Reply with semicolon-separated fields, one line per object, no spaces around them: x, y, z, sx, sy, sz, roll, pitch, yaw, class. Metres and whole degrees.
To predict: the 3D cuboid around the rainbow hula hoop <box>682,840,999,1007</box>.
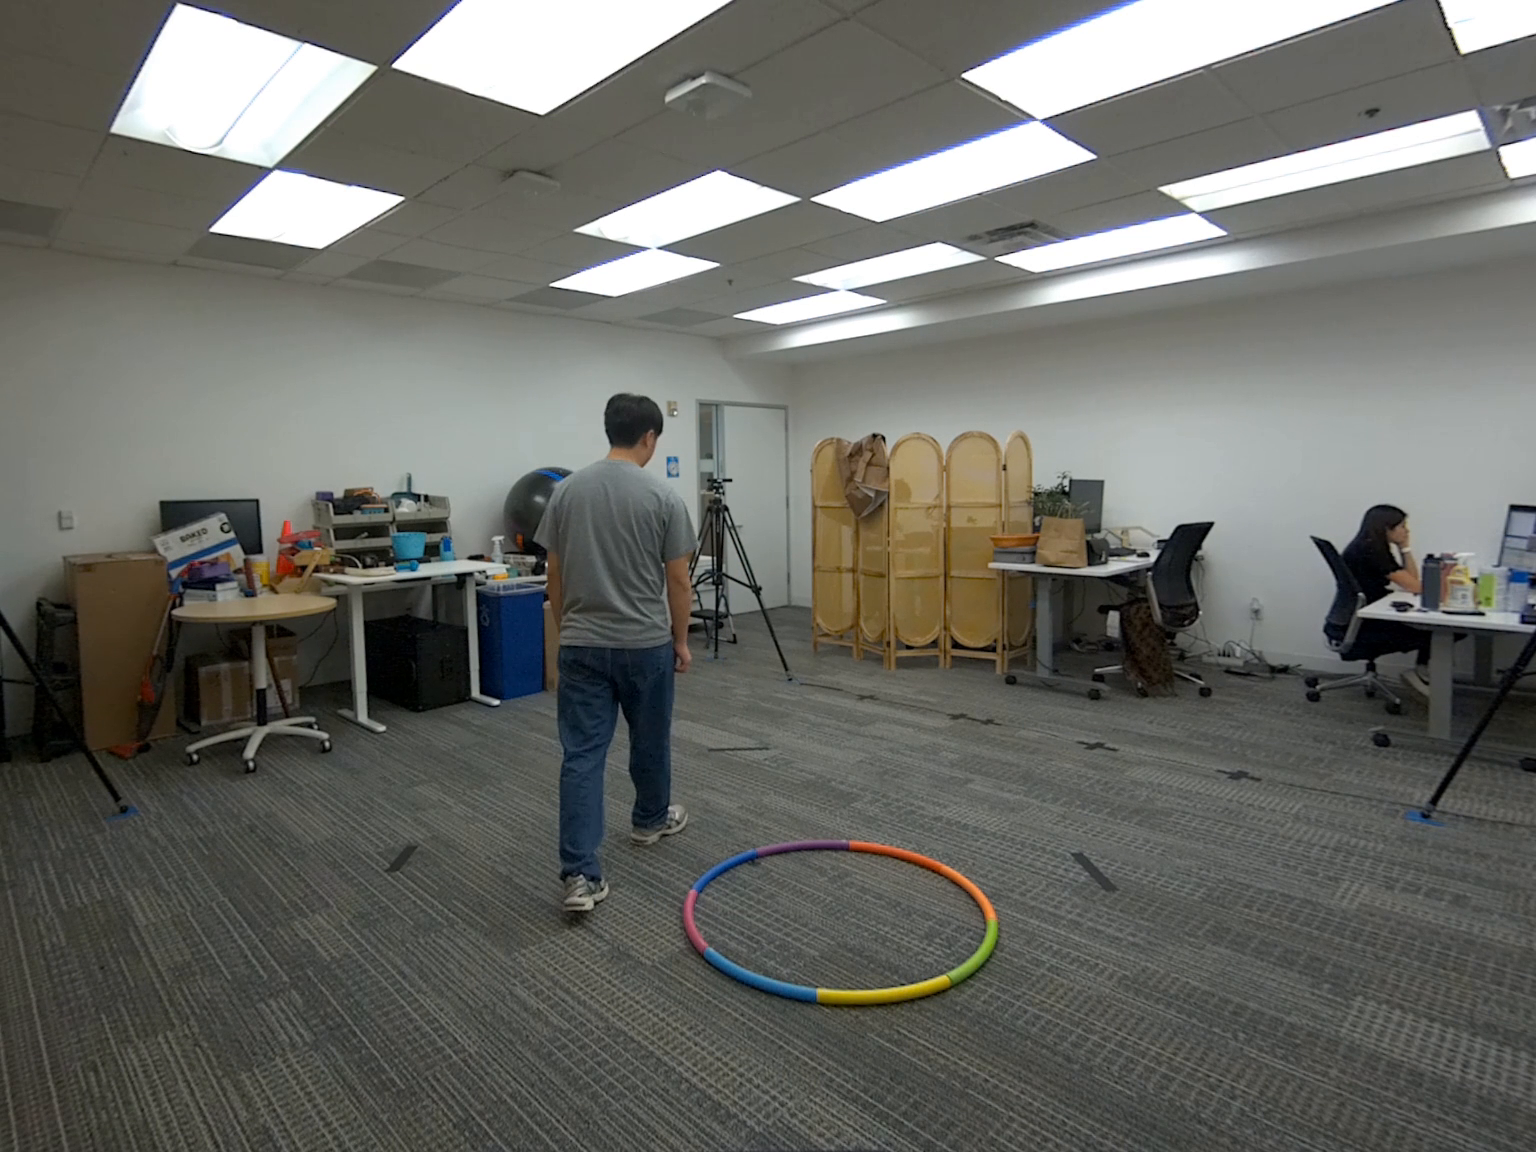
0.214;1.053;2.743;0.978;0.035;0.984;-2;7;-2;rainbow hula hoop
